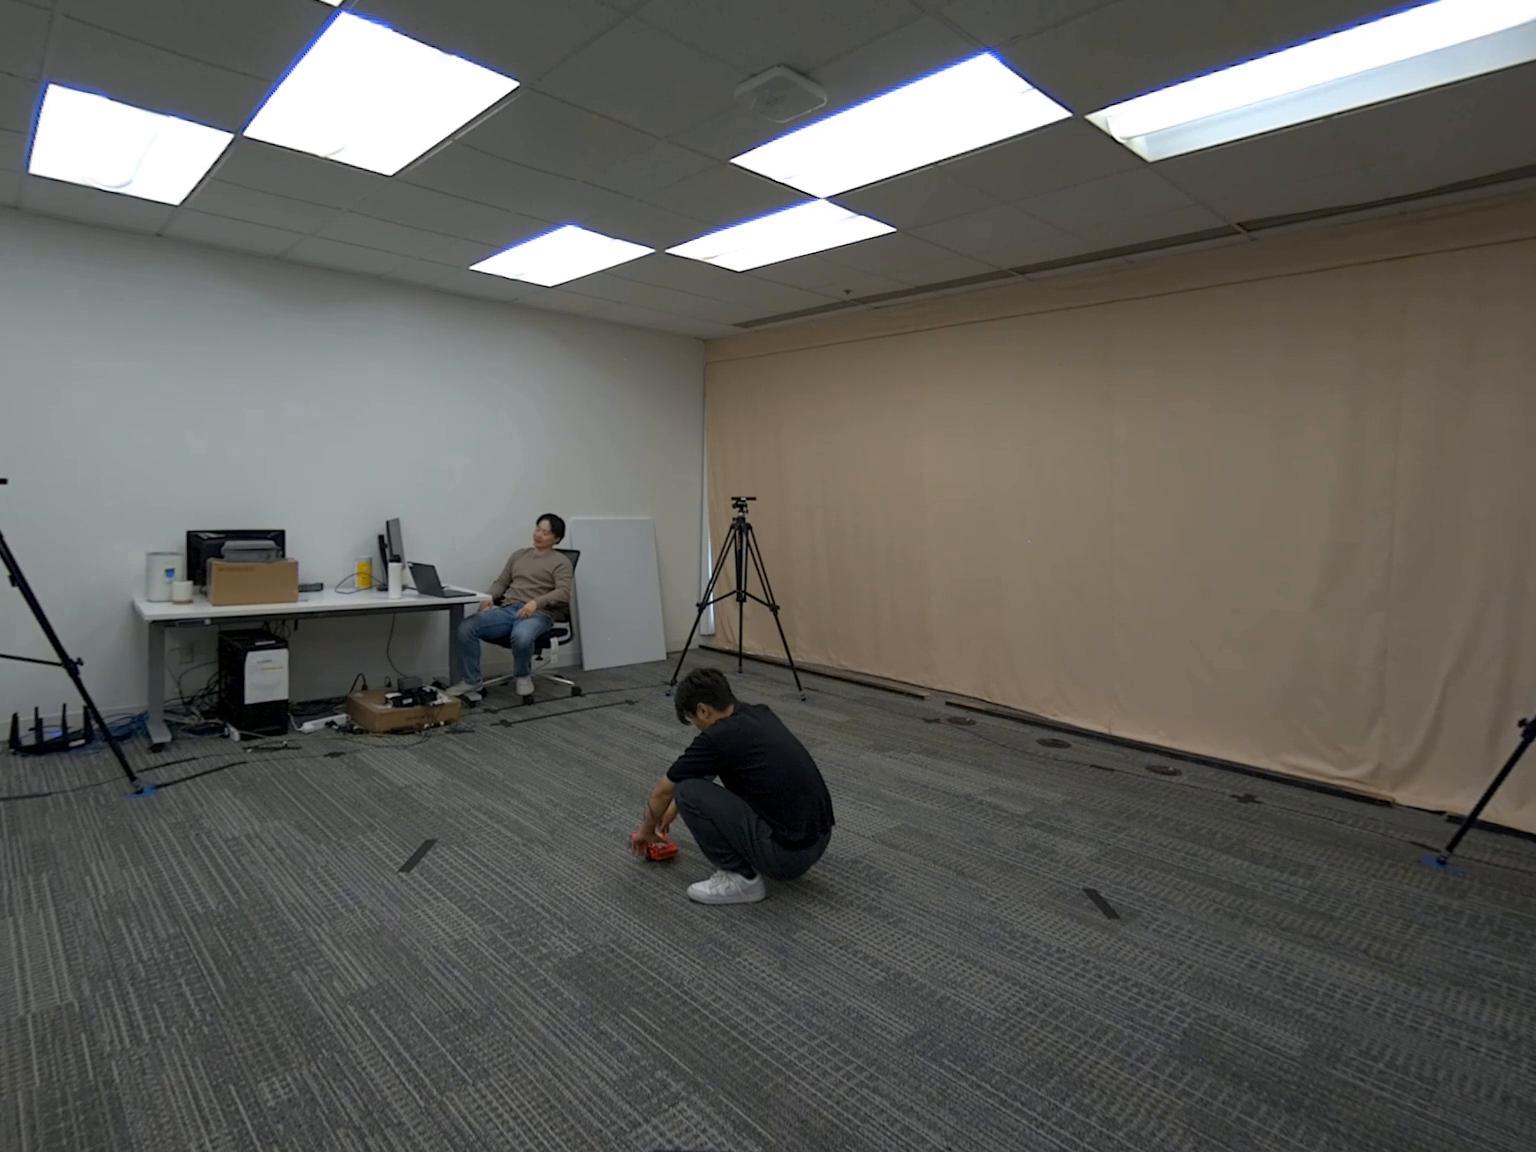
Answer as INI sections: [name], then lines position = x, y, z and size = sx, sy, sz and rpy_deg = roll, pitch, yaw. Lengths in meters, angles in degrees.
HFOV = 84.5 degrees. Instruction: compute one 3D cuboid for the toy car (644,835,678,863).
[toy car]
position = -0.447, 1.046, 3.283
size = 0.127, 0.083, 0.259
rpy_deg = -1, -5, -33
